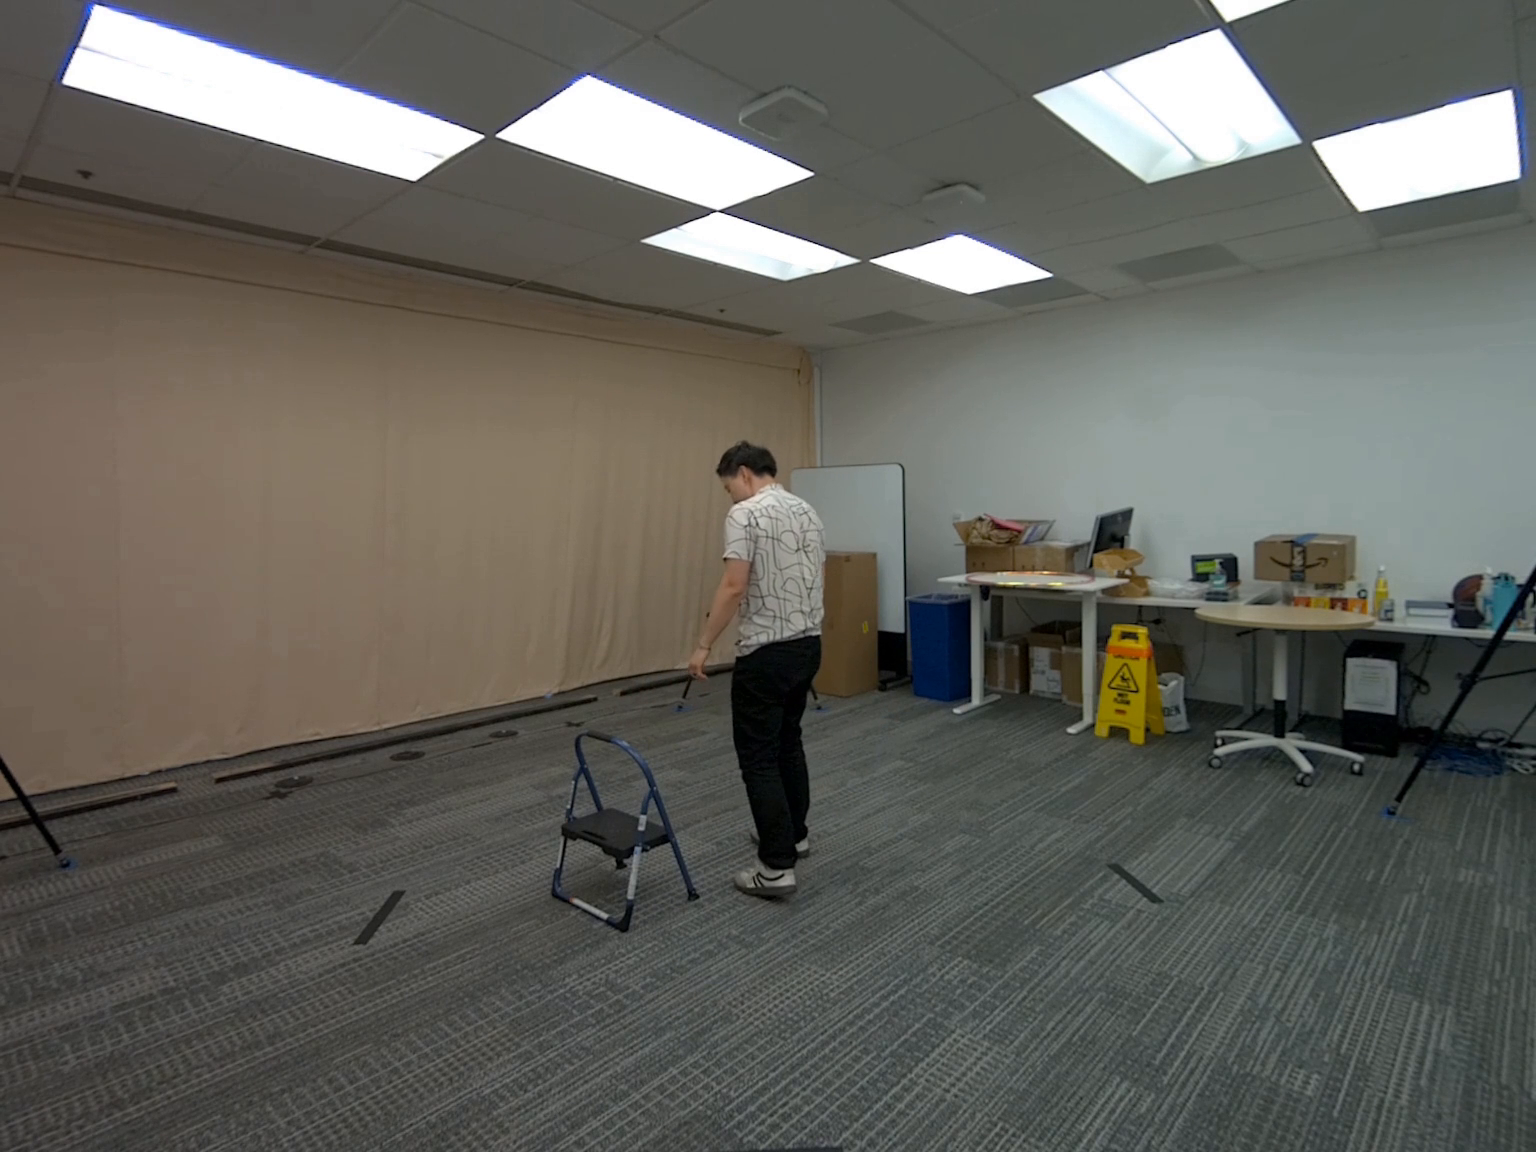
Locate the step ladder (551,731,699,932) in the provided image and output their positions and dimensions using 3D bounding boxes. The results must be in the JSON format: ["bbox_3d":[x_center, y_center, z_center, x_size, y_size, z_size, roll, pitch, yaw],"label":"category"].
[{"bbox_3d":[-0.521,0.844,3.001,0.445,0.605,0.339,1,4,41],"label":"step ladder"}]
